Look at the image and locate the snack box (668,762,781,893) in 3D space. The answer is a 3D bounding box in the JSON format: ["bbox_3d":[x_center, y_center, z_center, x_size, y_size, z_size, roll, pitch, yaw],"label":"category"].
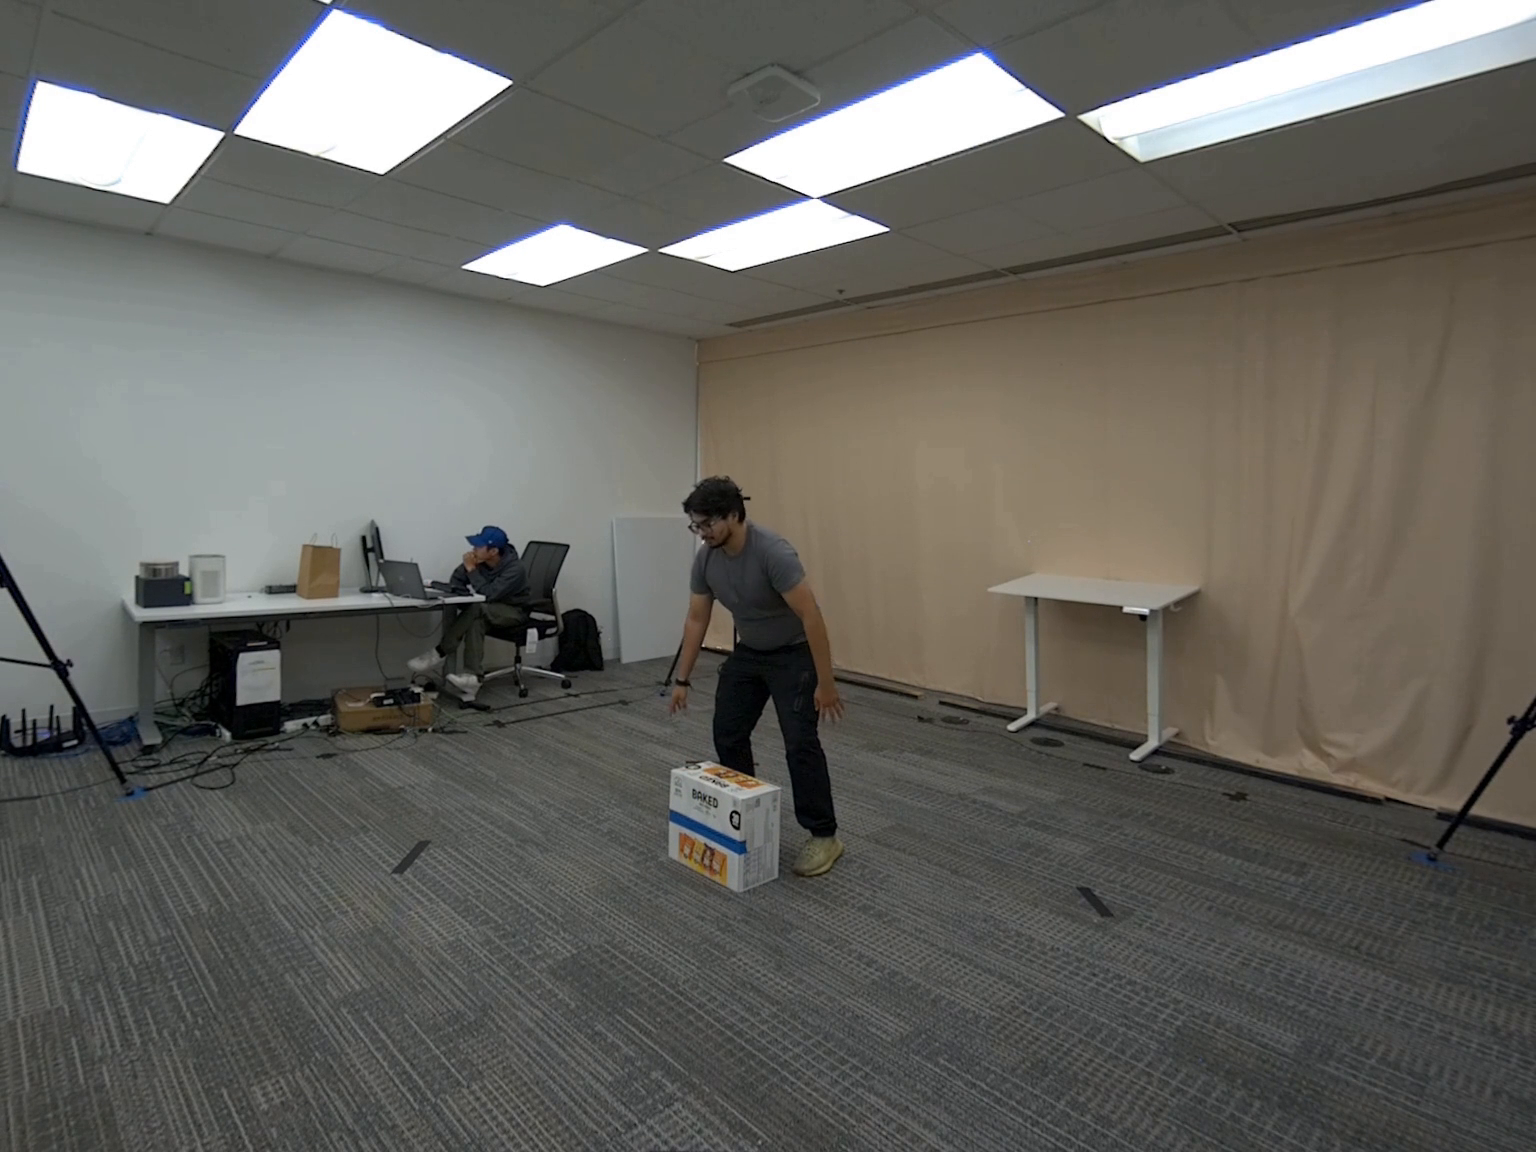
[{"bbox_3d":[-0.173,0.931,3.166,0.201,0.339,0.415,-2,5,-44],"label":"snack box"}]
